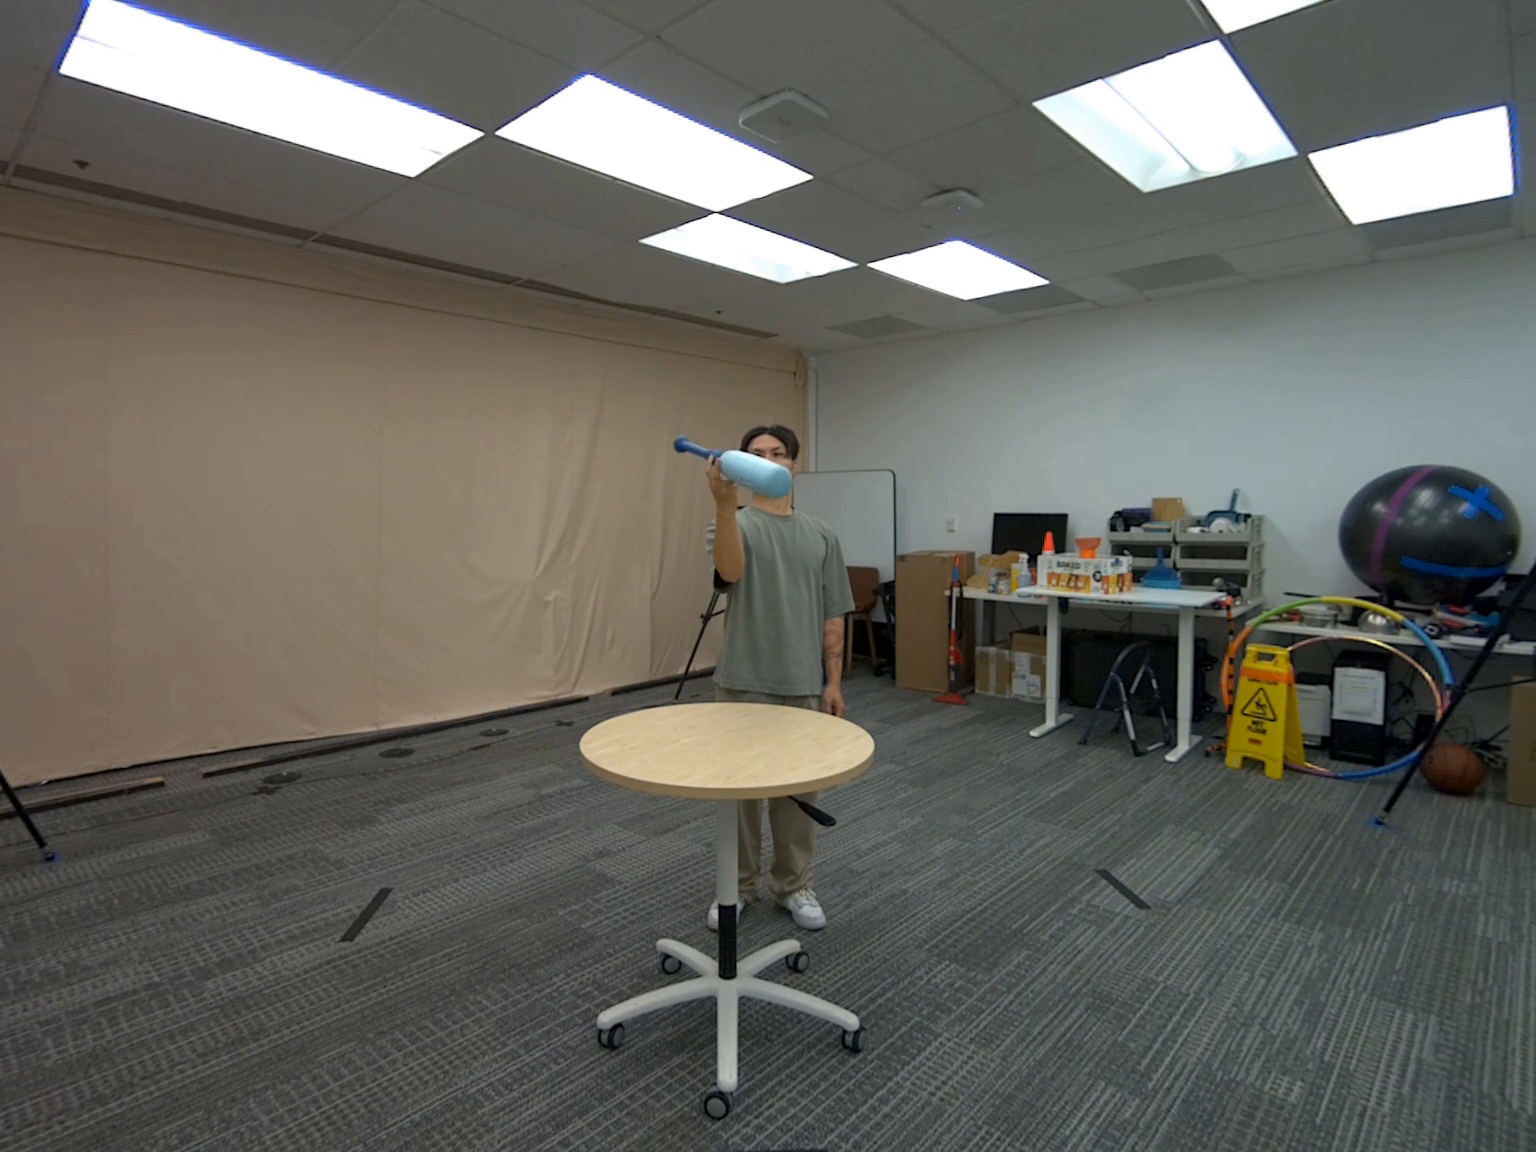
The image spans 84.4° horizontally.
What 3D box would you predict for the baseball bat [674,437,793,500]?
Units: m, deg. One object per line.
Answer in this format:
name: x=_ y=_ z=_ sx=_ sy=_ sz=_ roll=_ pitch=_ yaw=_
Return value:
baseball bat: x=-0.114 y=-0.300 z=2.310 sx=0.086 sy=0.088 sz=0.563 roll=-3 pitch=19 yaw=-34
